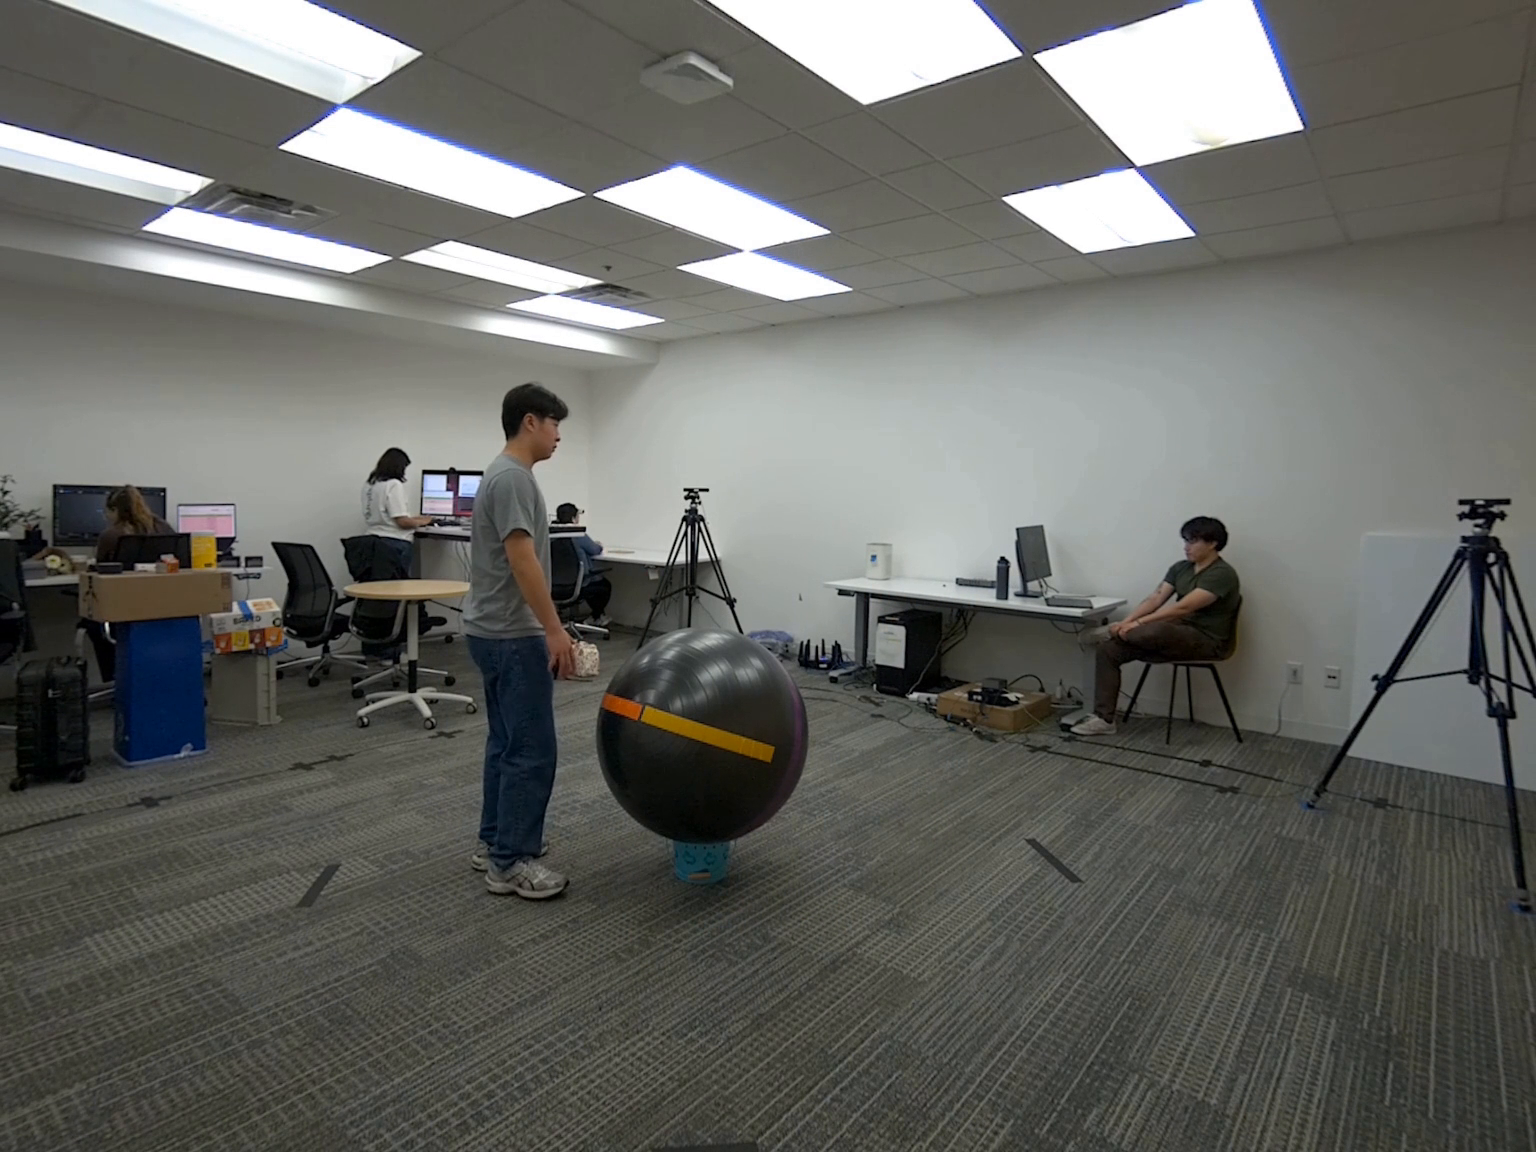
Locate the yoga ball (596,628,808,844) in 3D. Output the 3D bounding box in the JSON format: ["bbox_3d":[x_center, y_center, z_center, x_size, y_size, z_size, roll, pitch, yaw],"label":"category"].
[{"bbox_3d":[-0.246,0.567,3.060,0.757,0.755,0.762,1,4,-2],"label":"yoga ball"}]
